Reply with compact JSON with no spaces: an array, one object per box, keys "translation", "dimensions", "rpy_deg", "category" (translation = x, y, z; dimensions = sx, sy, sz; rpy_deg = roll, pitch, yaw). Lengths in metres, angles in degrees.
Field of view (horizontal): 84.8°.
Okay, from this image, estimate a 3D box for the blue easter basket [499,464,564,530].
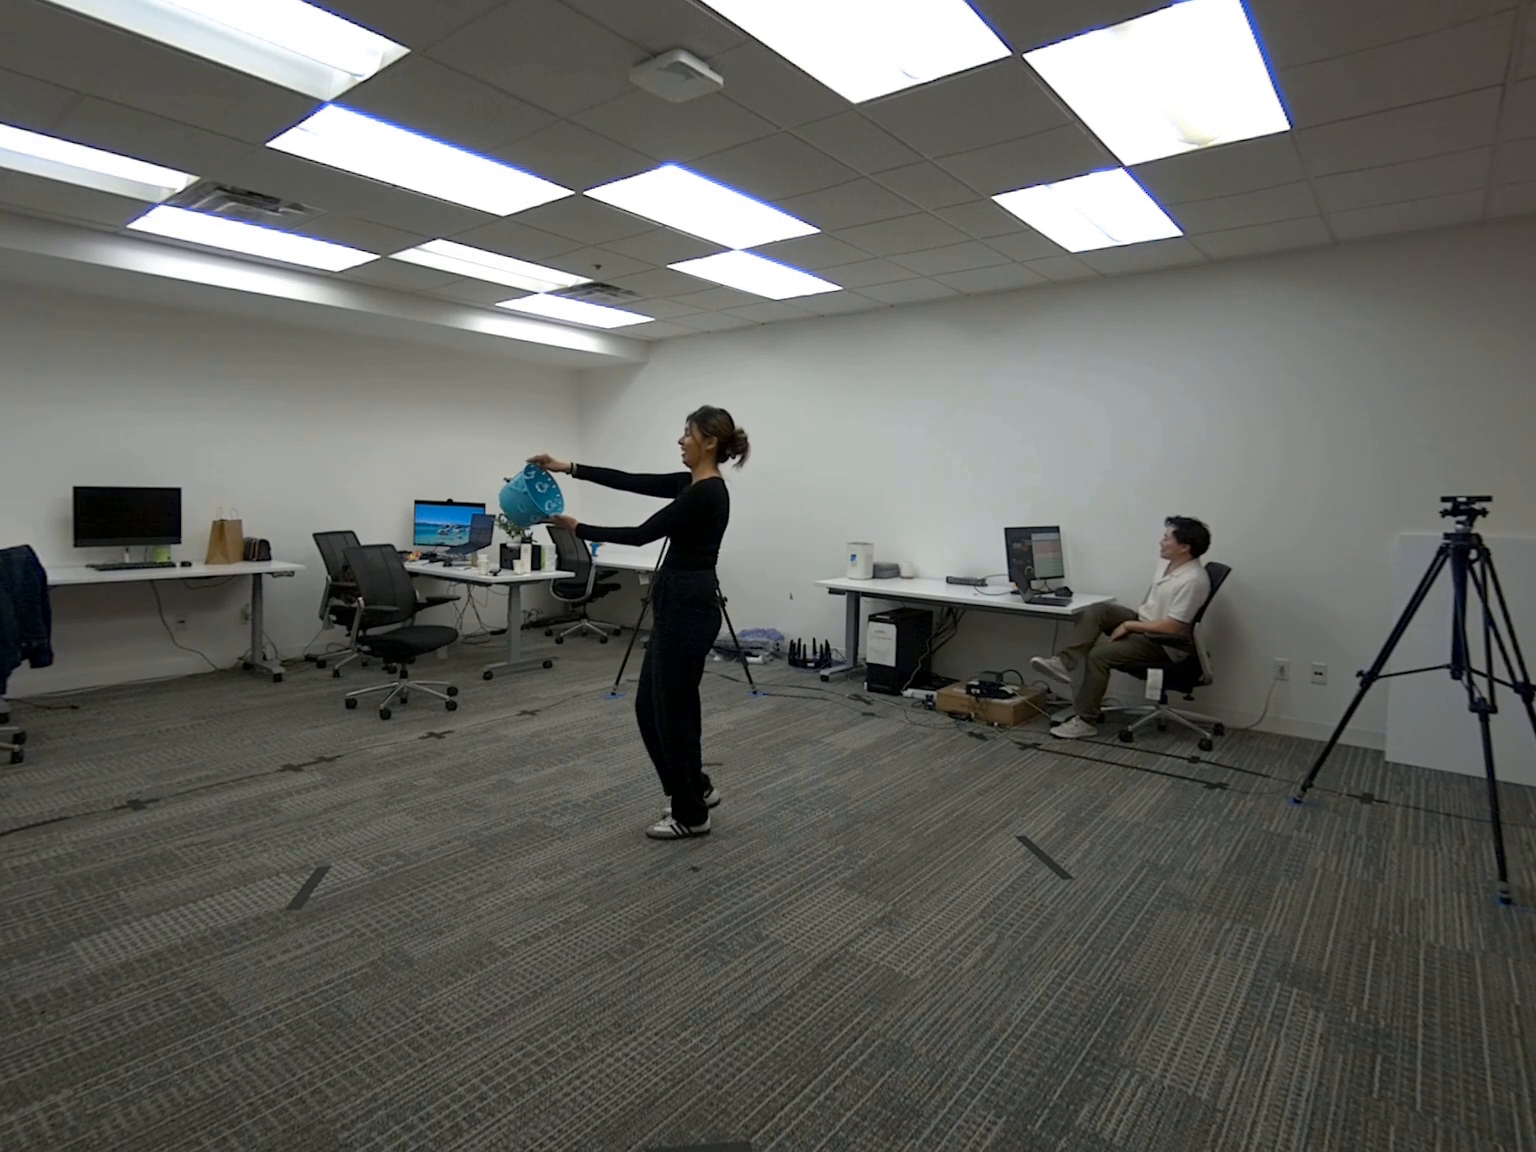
[{"translation":[-0.943,-0.308,3.326],"dimensions":[0.157,0.245,0.239],"rpy_deg":[-26,-5,18],"category":"blue easter basket"}]
